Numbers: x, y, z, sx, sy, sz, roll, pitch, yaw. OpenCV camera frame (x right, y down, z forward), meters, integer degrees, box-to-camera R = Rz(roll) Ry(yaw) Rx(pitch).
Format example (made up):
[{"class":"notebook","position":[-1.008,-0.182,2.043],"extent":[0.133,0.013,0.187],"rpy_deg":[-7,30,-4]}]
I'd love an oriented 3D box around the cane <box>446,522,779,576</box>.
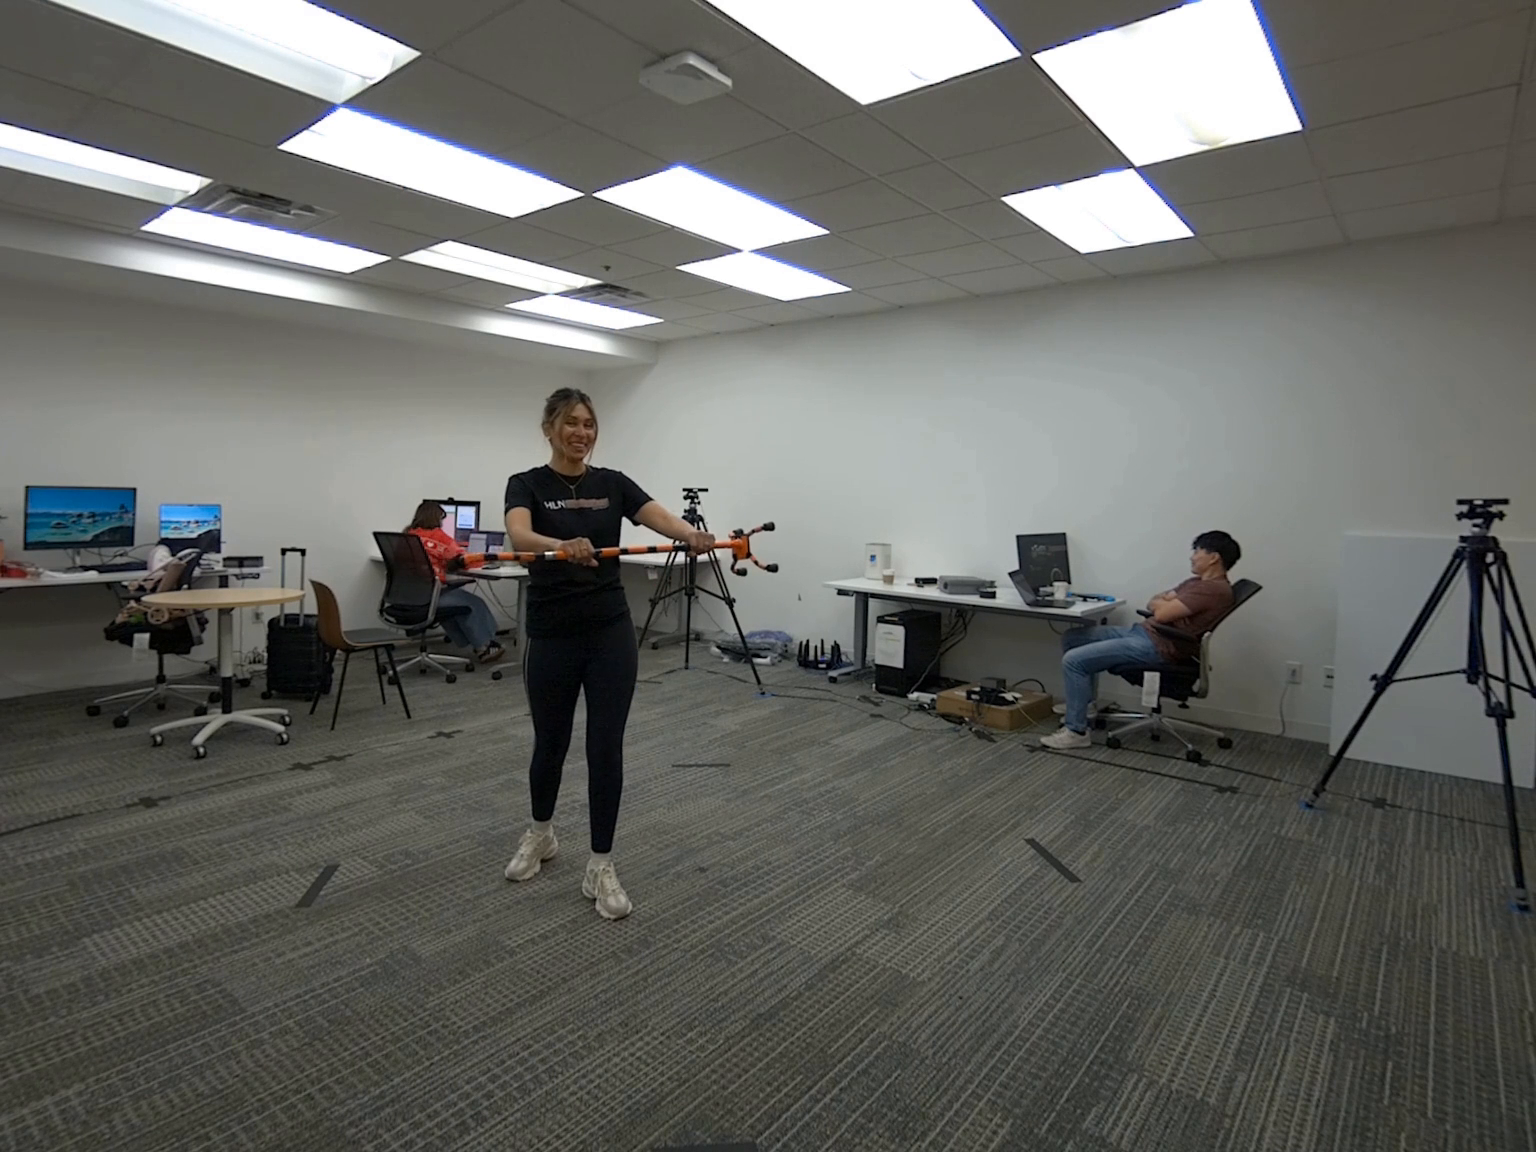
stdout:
[{"class":"cane","position":[-0.430,-0.058,2.333],"extent":[0.888,0.152,0.211],"rpy_deg":[-3,0,-23]}]
